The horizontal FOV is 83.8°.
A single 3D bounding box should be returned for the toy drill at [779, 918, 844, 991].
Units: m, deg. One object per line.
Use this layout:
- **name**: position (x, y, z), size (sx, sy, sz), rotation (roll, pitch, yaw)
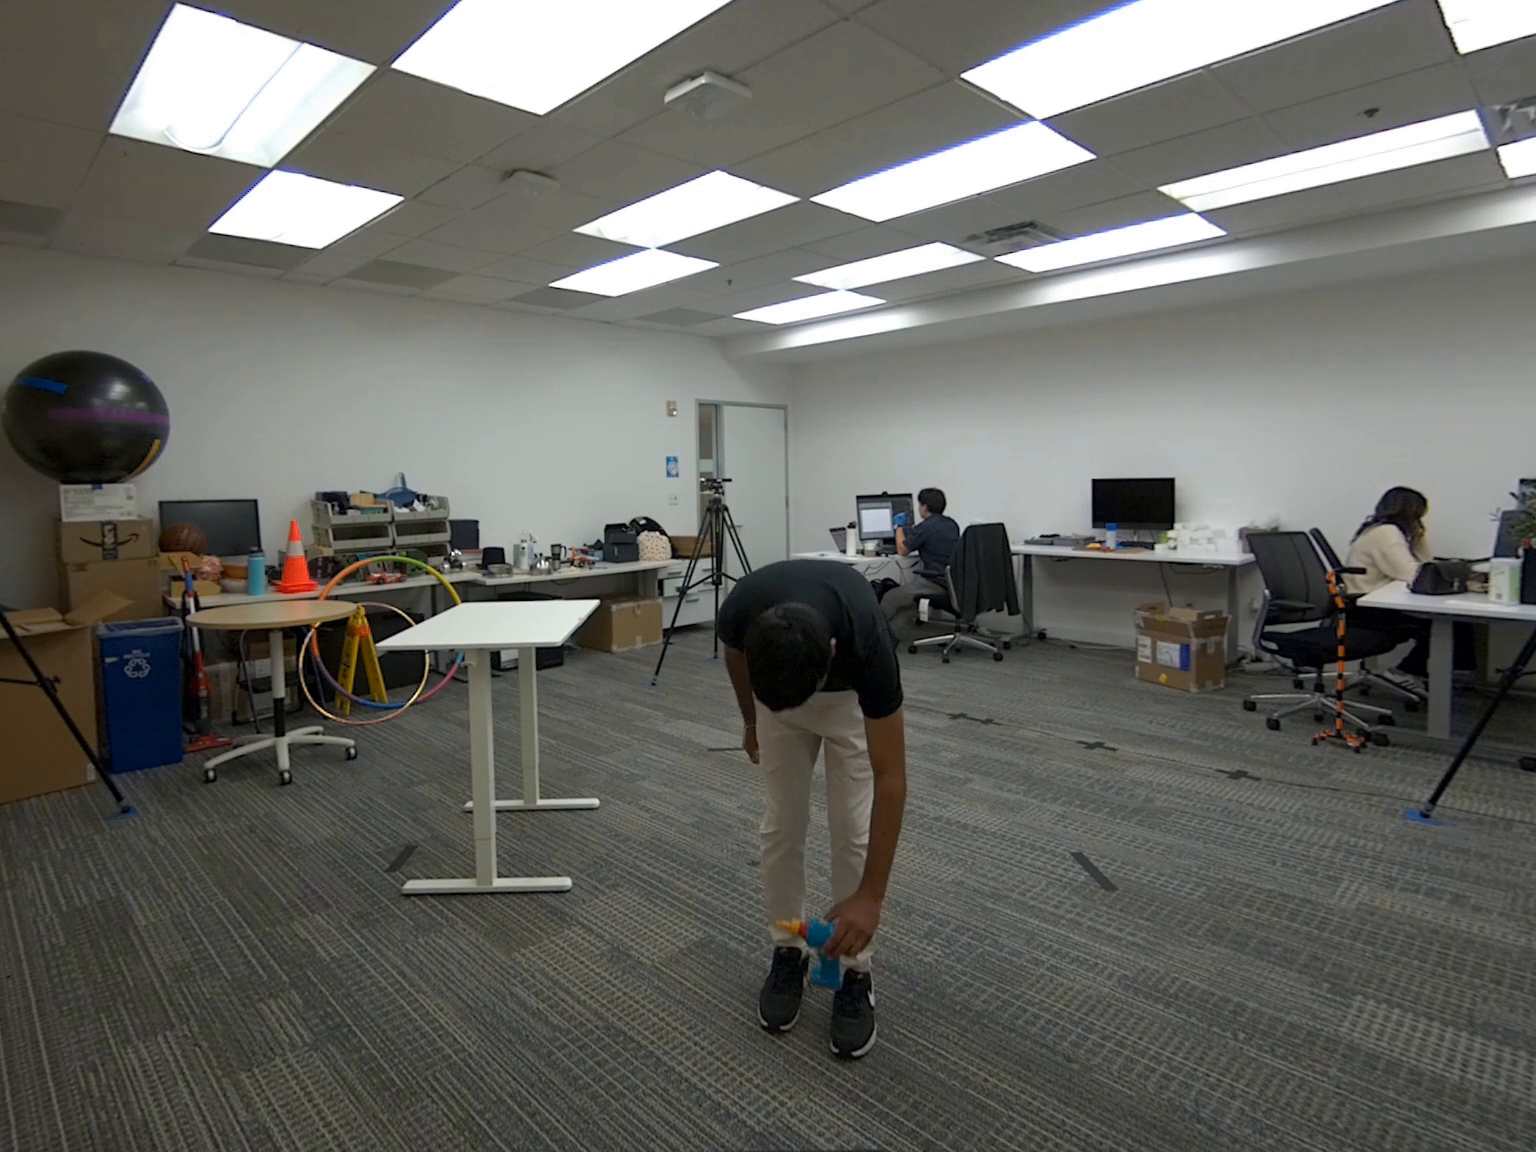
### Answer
- **toy drill**: position (0.134, 0.860, 1.878), size (0.173, 0.146, 0.060), rotation (1, 0, 20)
